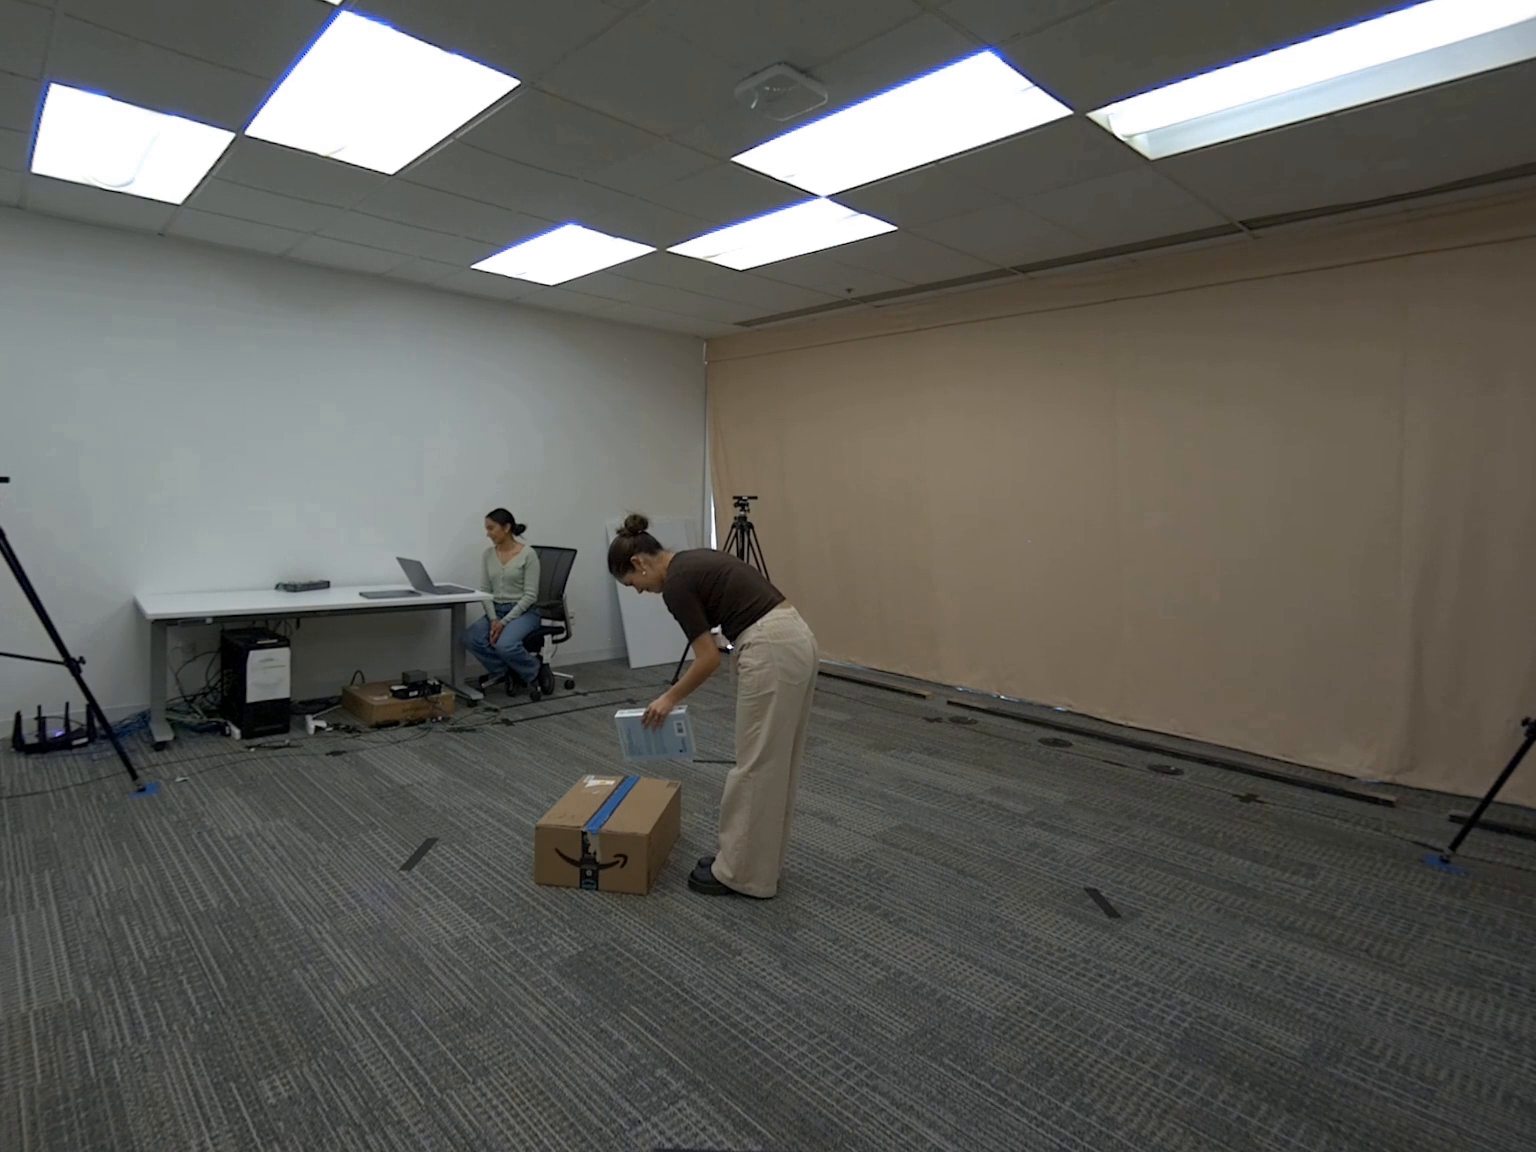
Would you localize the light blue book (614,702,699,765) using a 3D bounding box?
[{"bbox_3d":[-0.398,0.560,3.008,0.263,0.189,0.059,-6,15,13],"label":"light blue book"}]
